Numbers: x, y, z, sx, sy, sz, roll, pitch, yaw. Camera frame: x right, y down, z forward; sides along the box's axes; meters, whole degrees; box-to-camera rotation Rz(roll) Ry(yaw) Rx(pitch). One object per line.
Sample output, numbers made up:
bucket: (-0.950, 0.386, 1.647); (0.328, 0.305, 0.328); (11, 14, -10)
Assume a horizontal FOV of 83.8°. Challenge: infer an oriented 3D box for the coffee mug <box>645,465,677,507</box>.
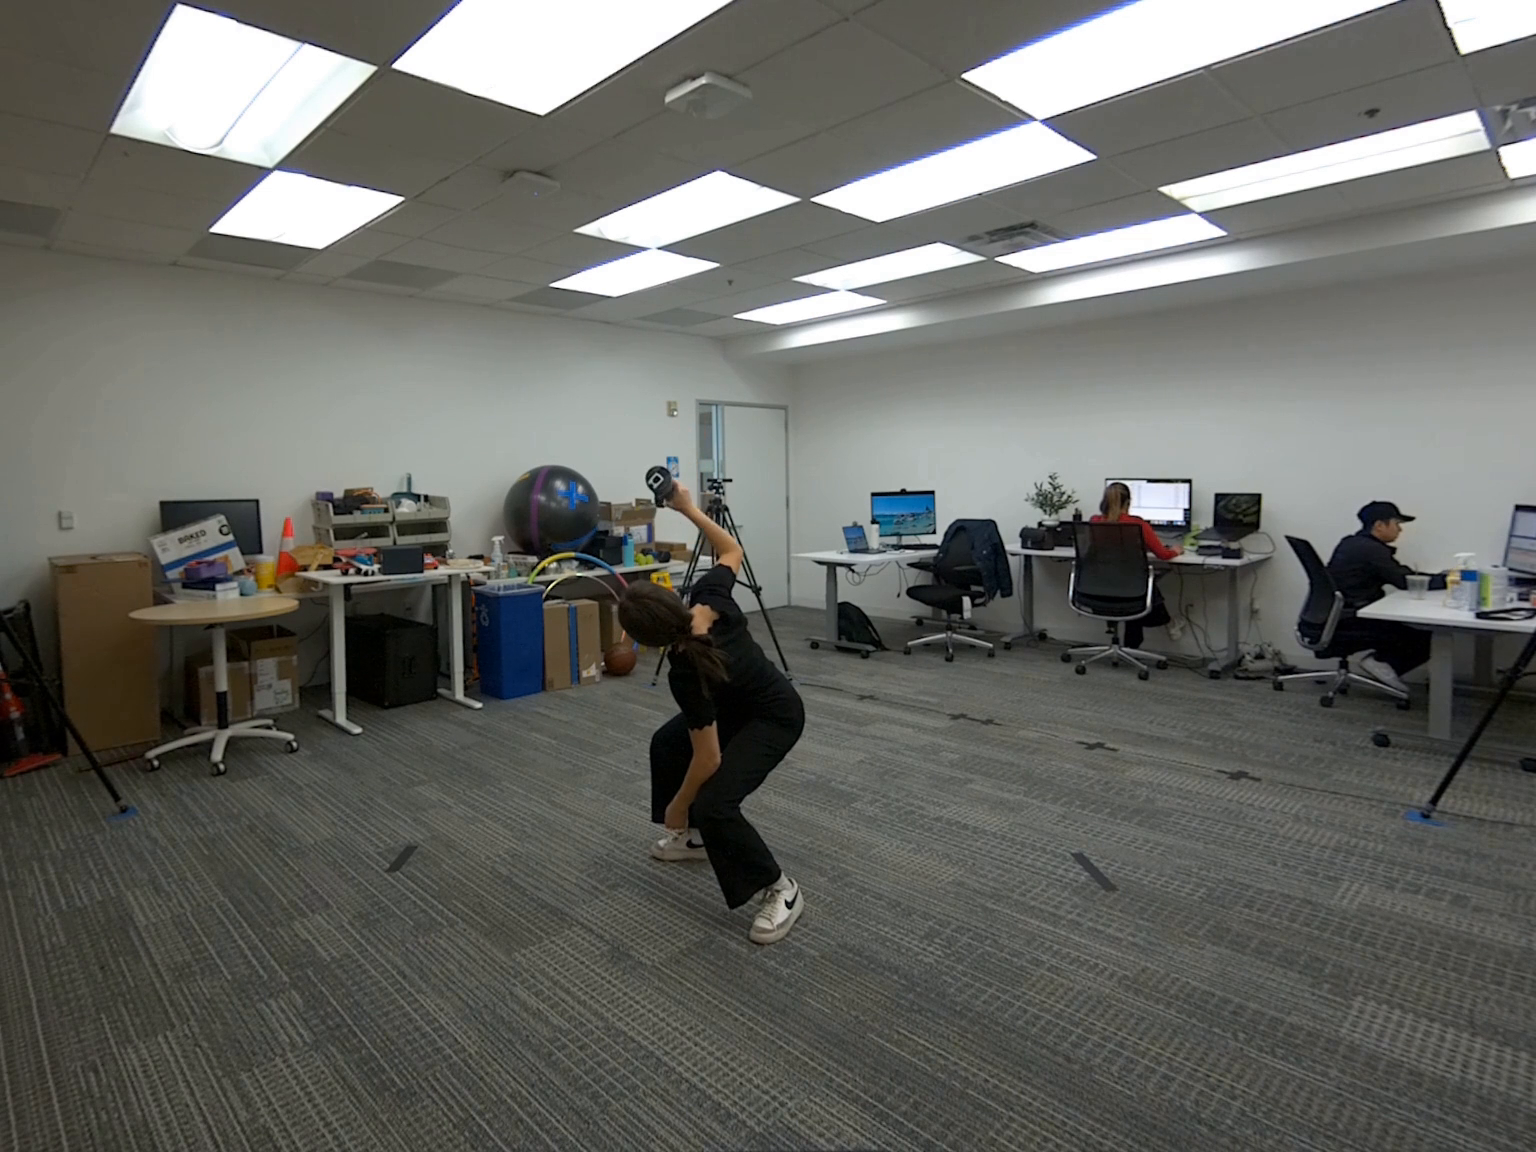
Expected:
coffee mug: (-0.377, -0.303, 2.907); (0.122, 0.089, 0.201); (-26, -6, -3)
